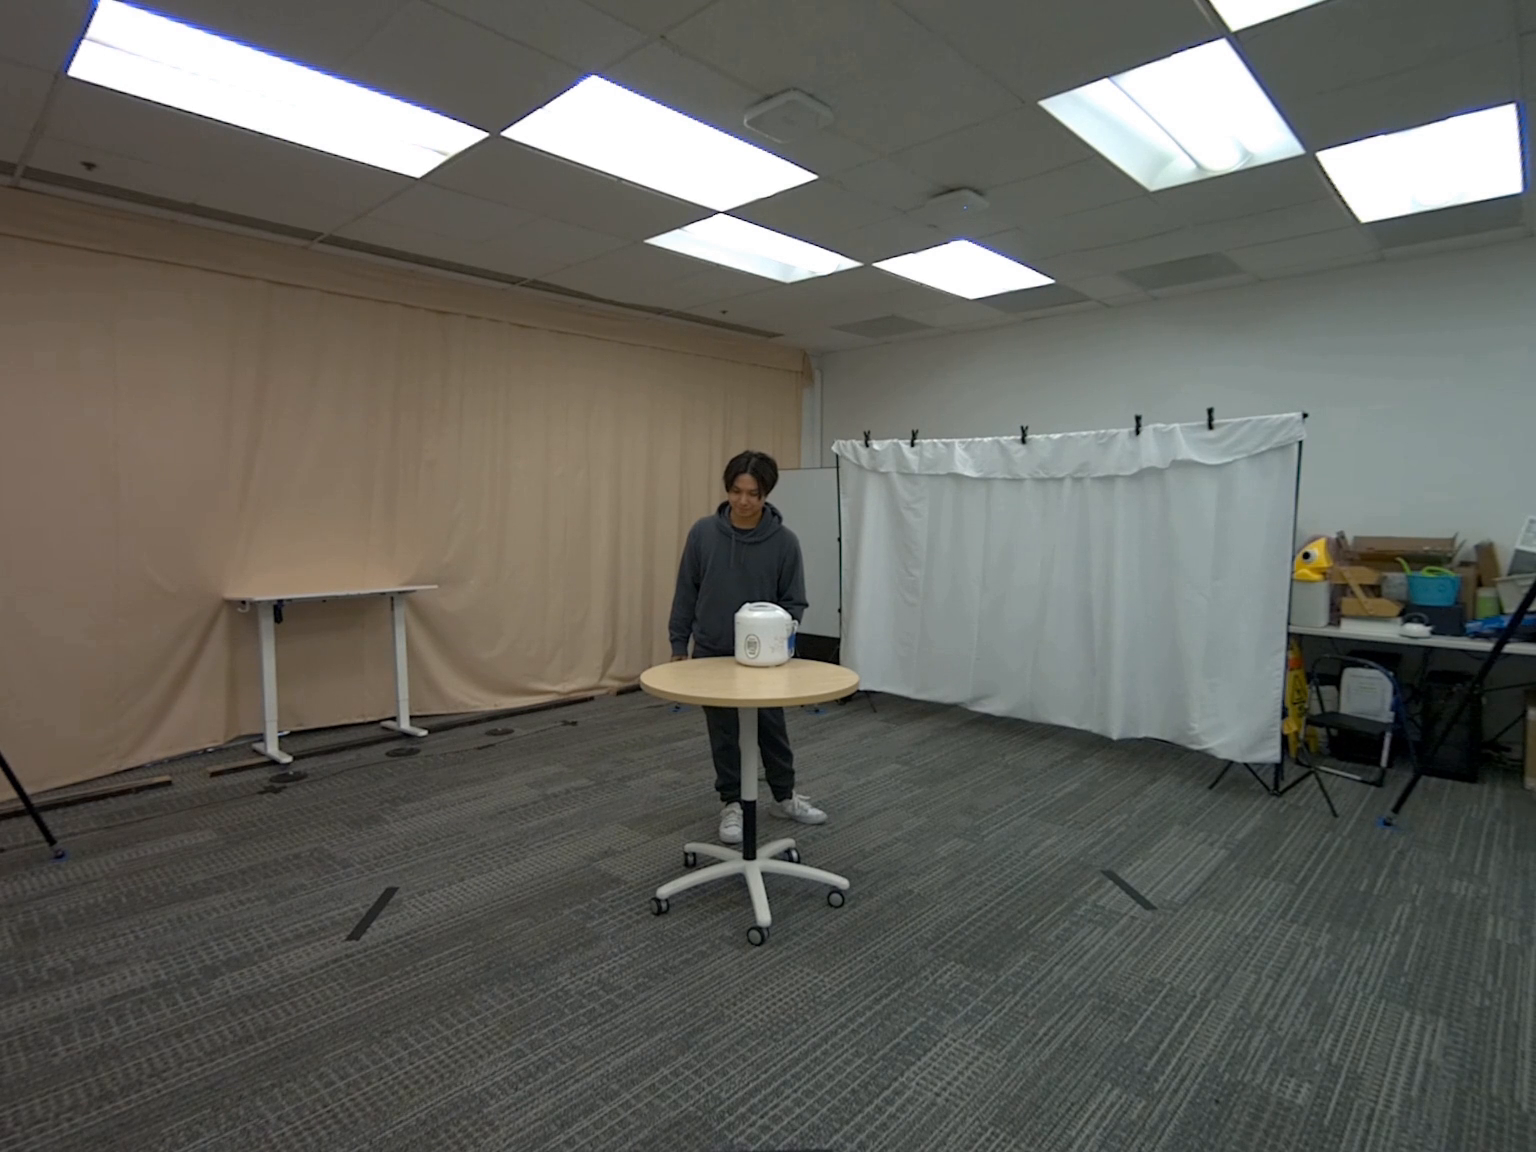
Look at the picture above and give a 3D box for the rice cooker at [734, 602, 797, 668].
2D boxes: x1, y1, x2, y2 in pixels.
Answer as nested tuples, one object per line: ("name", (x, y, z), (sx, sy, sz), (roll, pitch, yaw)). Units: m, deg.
("rice cooker", (-0.023, 0.215, 3.186), (0.226, 0.232, 0.212), (1, 2, 23))
